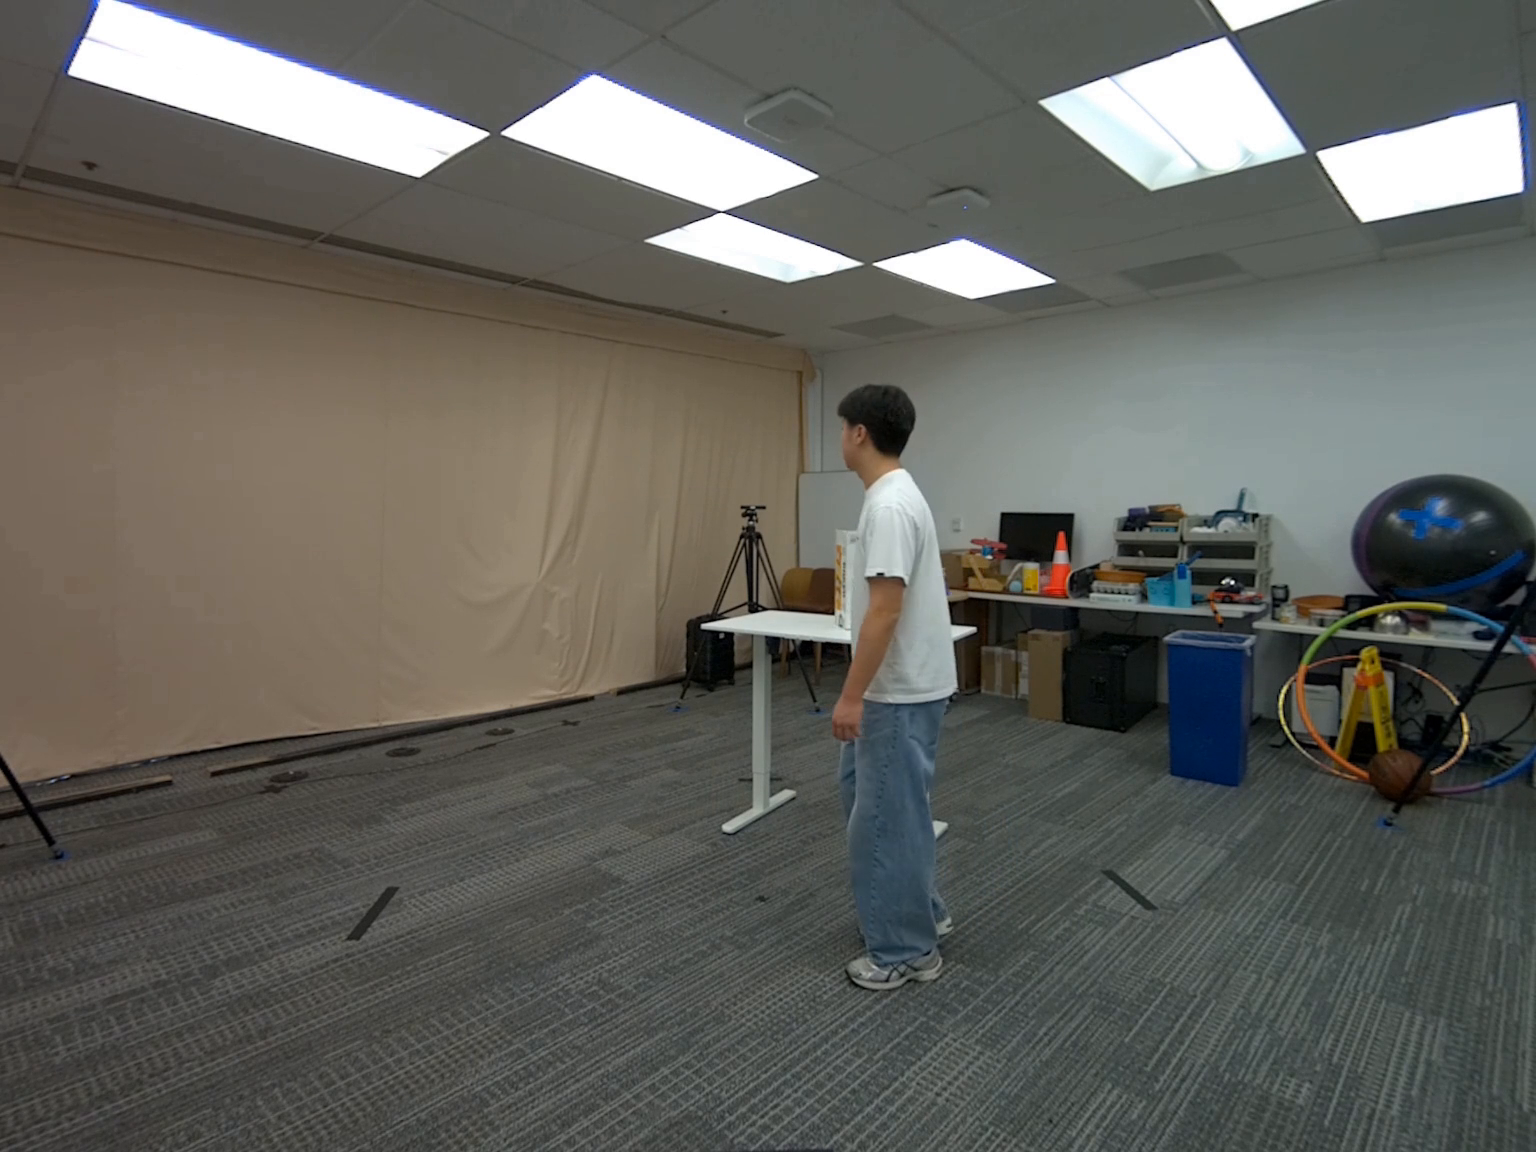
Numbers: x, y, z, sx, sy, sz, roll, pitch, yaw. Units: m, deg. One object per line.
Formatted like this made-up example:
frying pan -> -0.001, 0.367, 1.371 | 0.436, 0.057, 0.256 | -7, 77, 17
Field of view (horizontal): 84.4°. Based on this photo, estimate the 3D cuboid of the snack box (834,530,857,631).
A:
snack box -> 0.476, 0.008, 3.551 | 0.338, 0.404, 0.207 | -2, 4, -7
